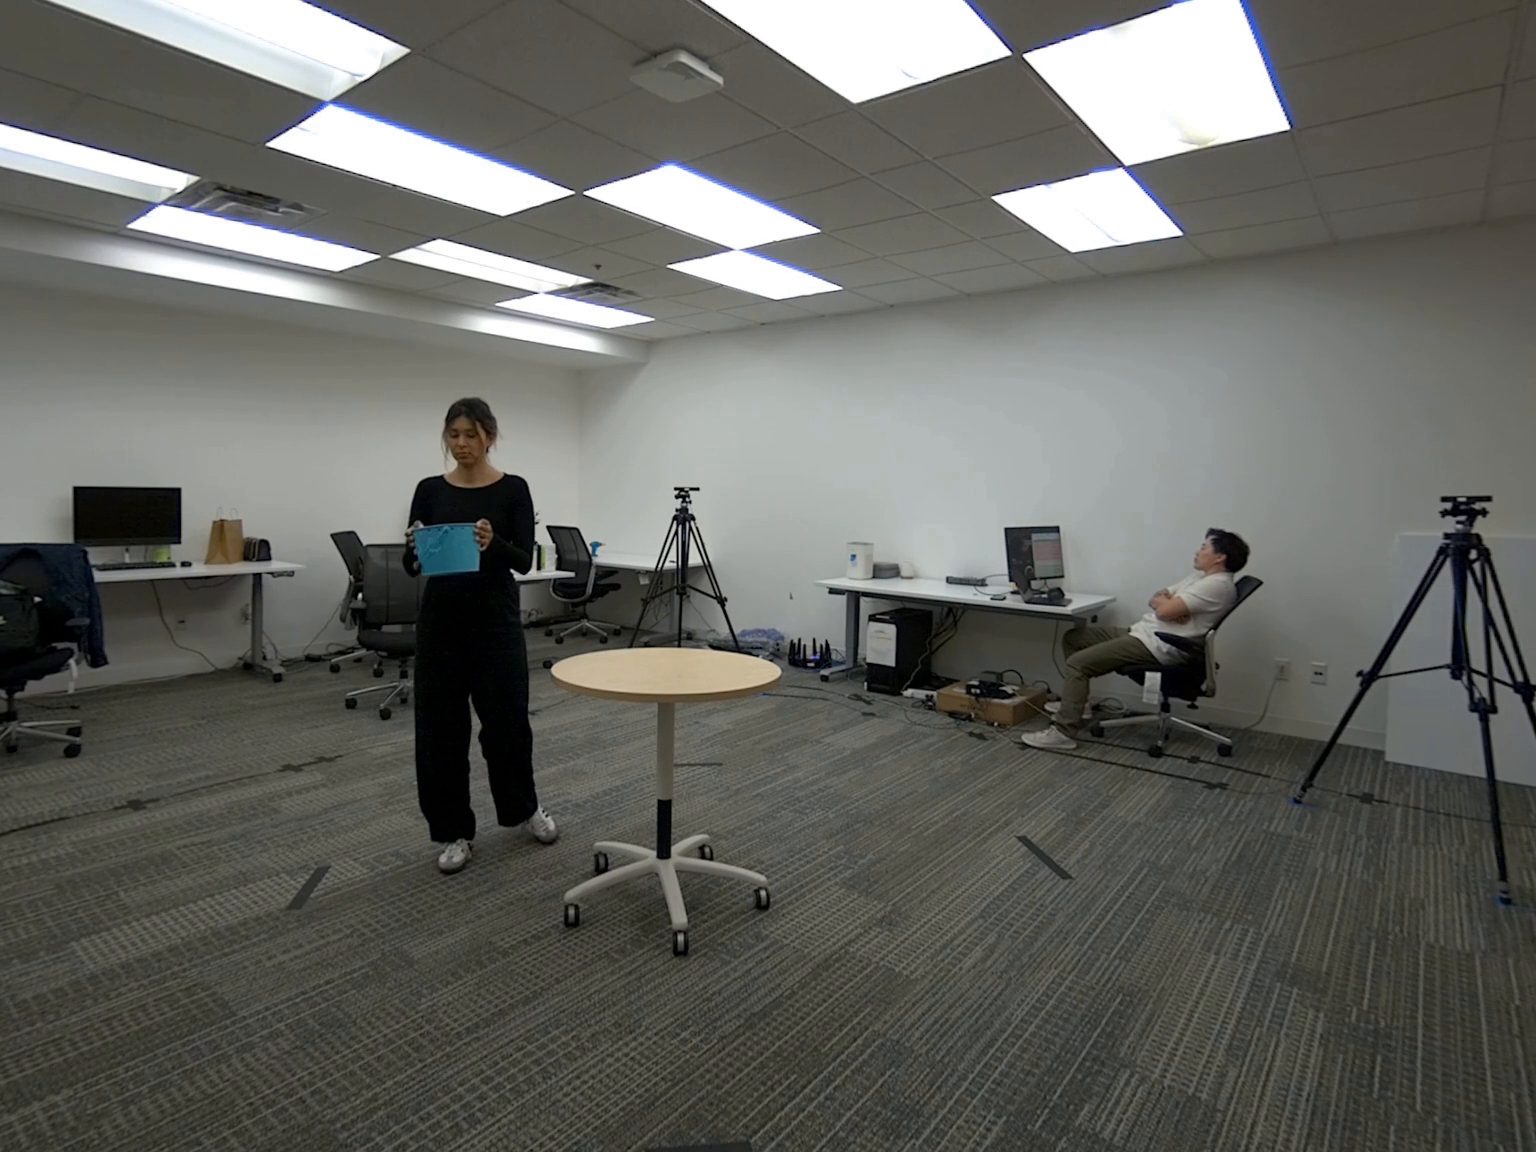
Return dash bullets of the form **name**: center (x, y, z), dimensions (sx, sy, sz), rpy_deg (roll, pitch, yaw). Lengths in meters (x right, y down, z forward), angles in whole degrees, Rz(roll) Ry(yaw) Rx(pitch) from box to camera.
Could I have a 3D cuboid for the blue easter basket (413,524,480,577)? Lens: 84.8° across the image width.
- **blue easter basket**: center (-1.078, -0.085, 2.827), dimensions (0.243, 0.156, 0.244), rpy_deg (-3, 0, -2)
